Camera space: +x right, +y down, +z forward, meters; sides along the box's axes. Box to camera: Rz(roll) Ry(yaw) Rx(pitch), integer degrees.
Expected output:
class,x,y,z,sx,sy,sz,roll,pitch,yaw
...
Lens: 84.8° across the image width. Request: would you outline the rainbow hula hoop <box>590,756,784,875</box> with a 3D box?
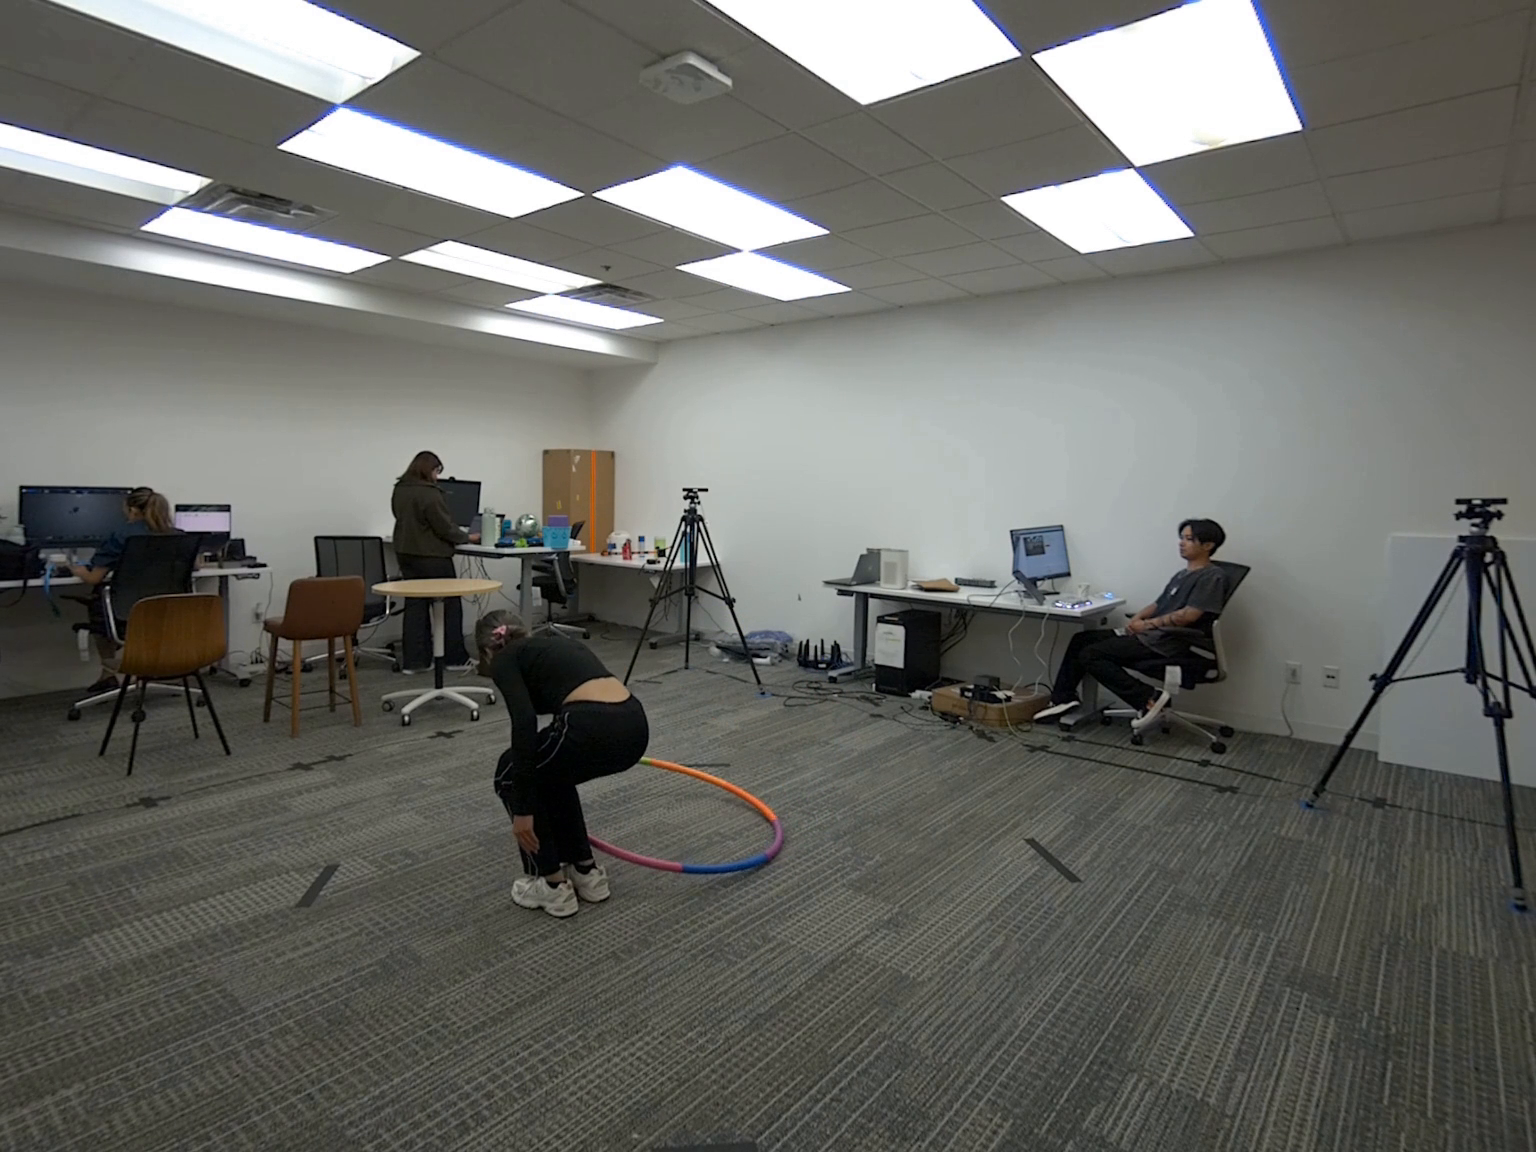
class,x,y,z,sx,sy,sz,roll,pitch,yaw
rainbow hula hoop,-0.420,0.908,3.407,0.976,0.035,0.985,13,6,-3
